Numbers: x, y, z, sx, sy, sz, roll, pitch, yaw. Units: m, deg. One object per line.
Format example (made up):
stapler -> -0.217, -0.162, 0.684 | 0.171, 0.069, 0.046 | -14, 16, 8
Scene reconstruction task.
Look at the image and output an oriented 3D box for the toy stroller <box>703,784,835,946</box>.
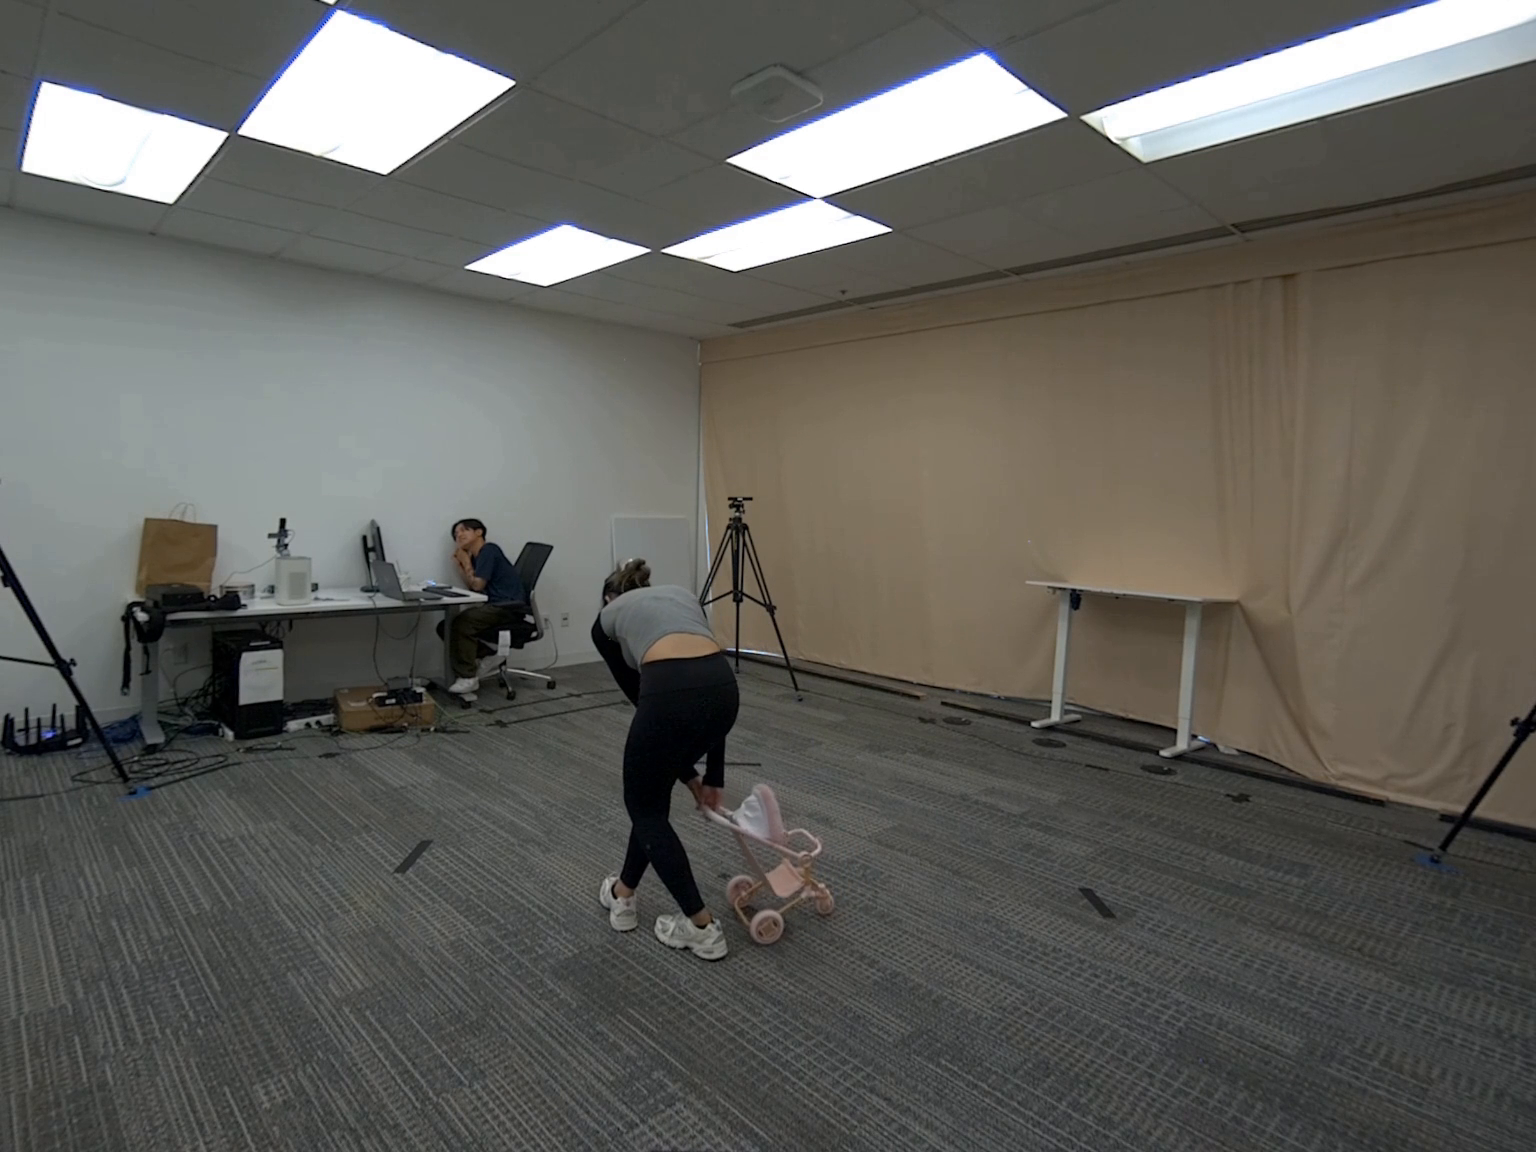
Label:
toy stroller -> 0.004, 0.916, 2.756 | 0.339, 0.531, 0.286 | -18, 9, -14
